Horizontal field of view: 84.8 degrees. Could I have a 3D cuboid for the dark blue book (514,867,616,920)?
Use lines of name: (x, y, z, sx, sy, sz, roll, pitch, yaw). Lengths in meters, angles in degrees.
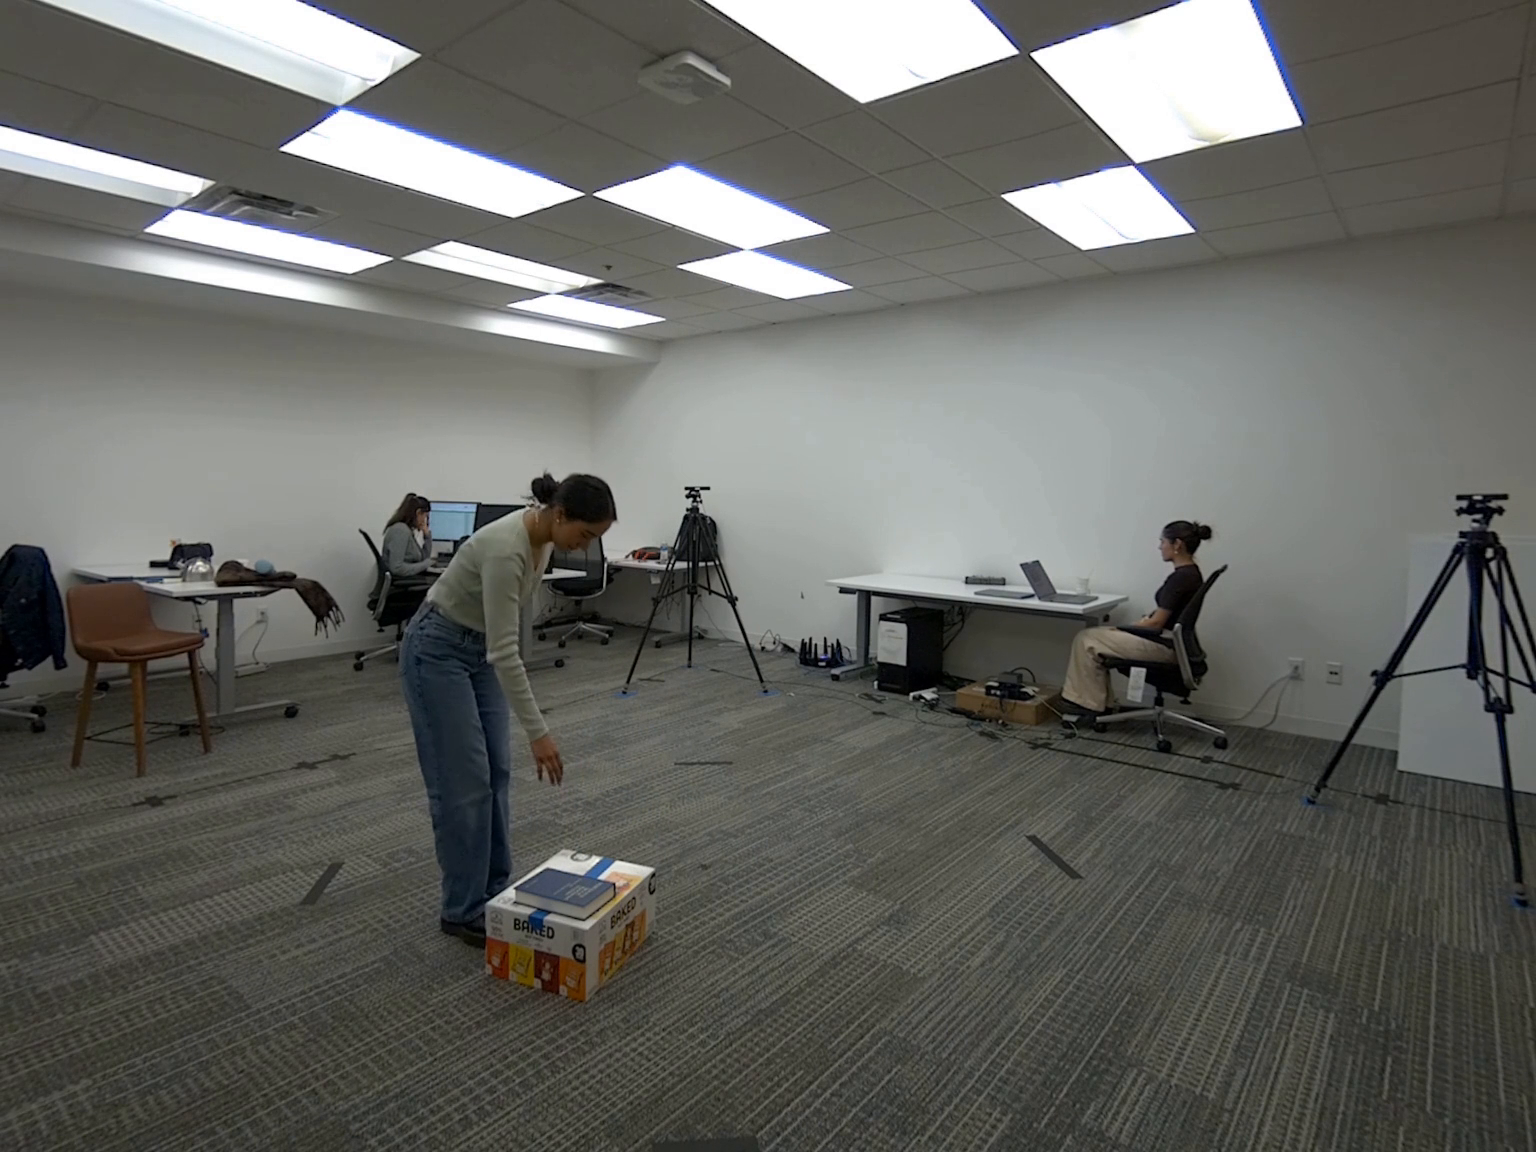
dark blue book: (-0.590, 0.907, 2.442, 0.251, 0.045, 0.160, 2, 6, 23)
